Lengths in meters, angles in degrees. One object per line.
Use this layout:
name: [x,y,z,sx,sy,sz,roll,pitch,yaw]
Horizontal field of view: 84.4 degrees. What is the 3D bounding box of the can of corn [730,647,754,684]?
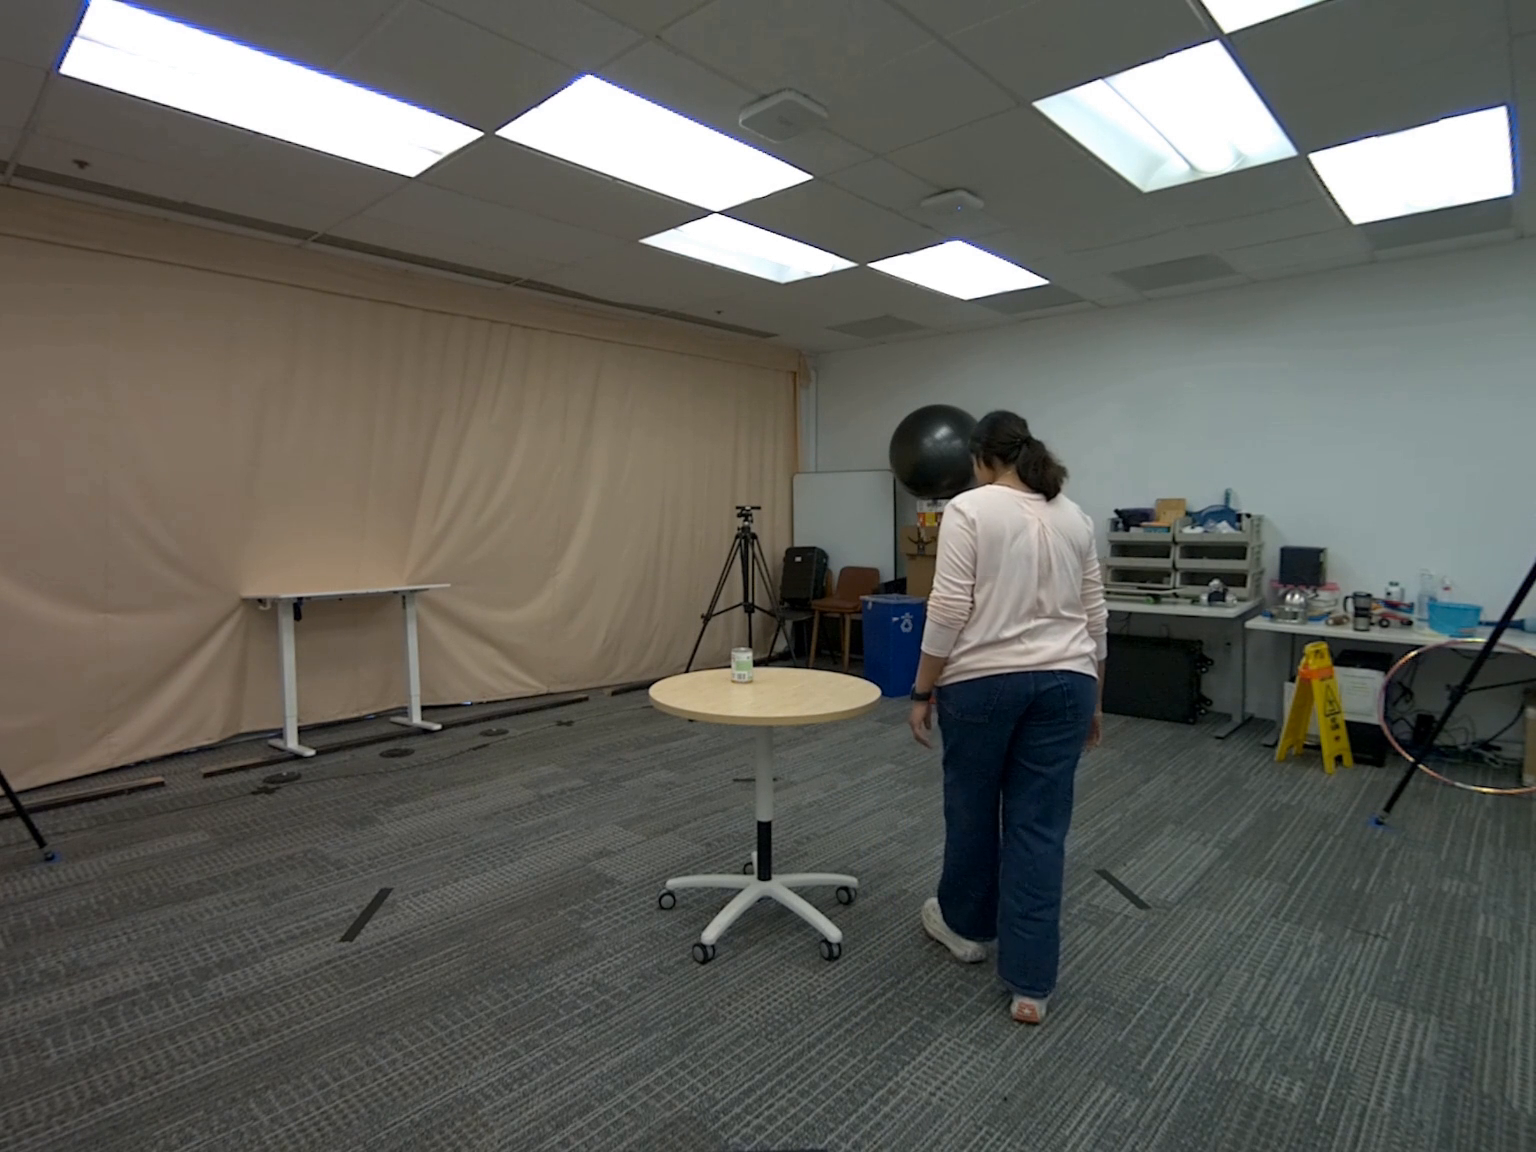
can of corn: [-0.090,0.313,2.920,0.074,0.111,0.074,-1,5,-2]
